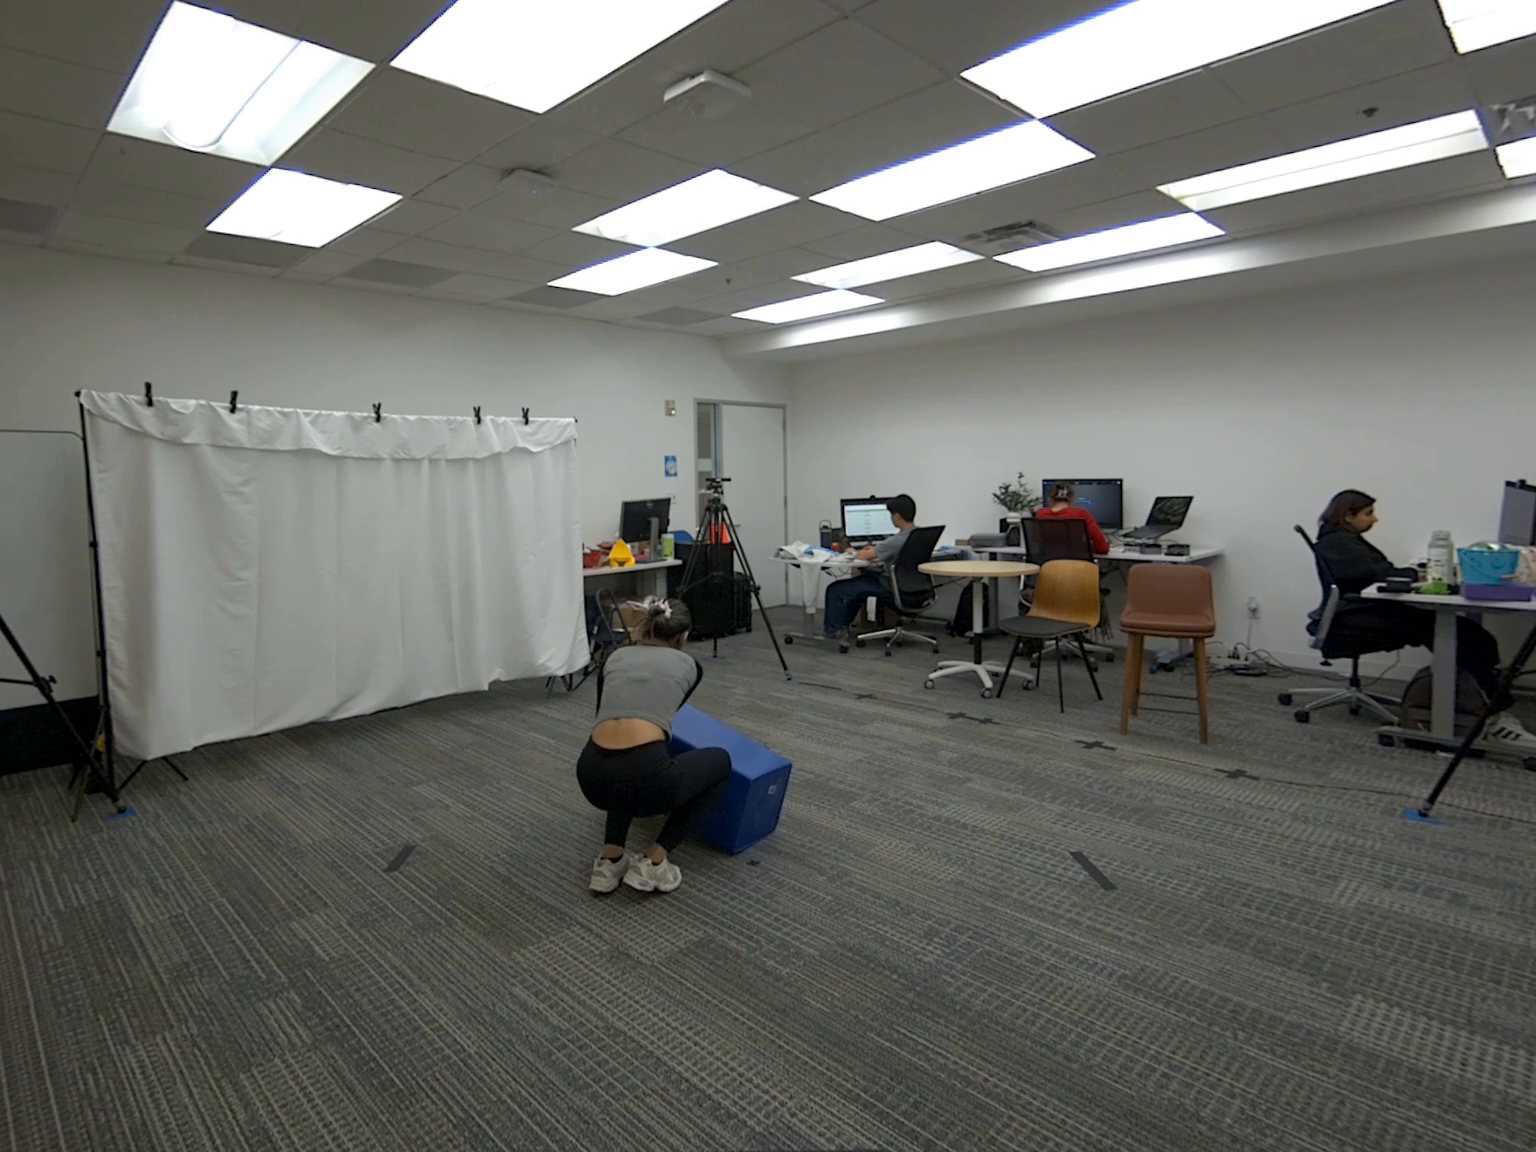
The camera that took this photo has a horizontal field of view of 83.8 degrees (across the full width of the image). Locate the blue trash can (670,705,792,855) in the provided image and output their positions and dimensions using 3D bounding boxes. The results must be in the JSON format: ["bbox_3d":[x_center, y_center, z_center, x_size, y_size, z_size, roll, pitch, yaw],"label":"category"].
[{"bbox_3d":[-0.291,0.767,3.435,0.738,0.376,0.364,20,11,33],"label":"blue trash can"}]
